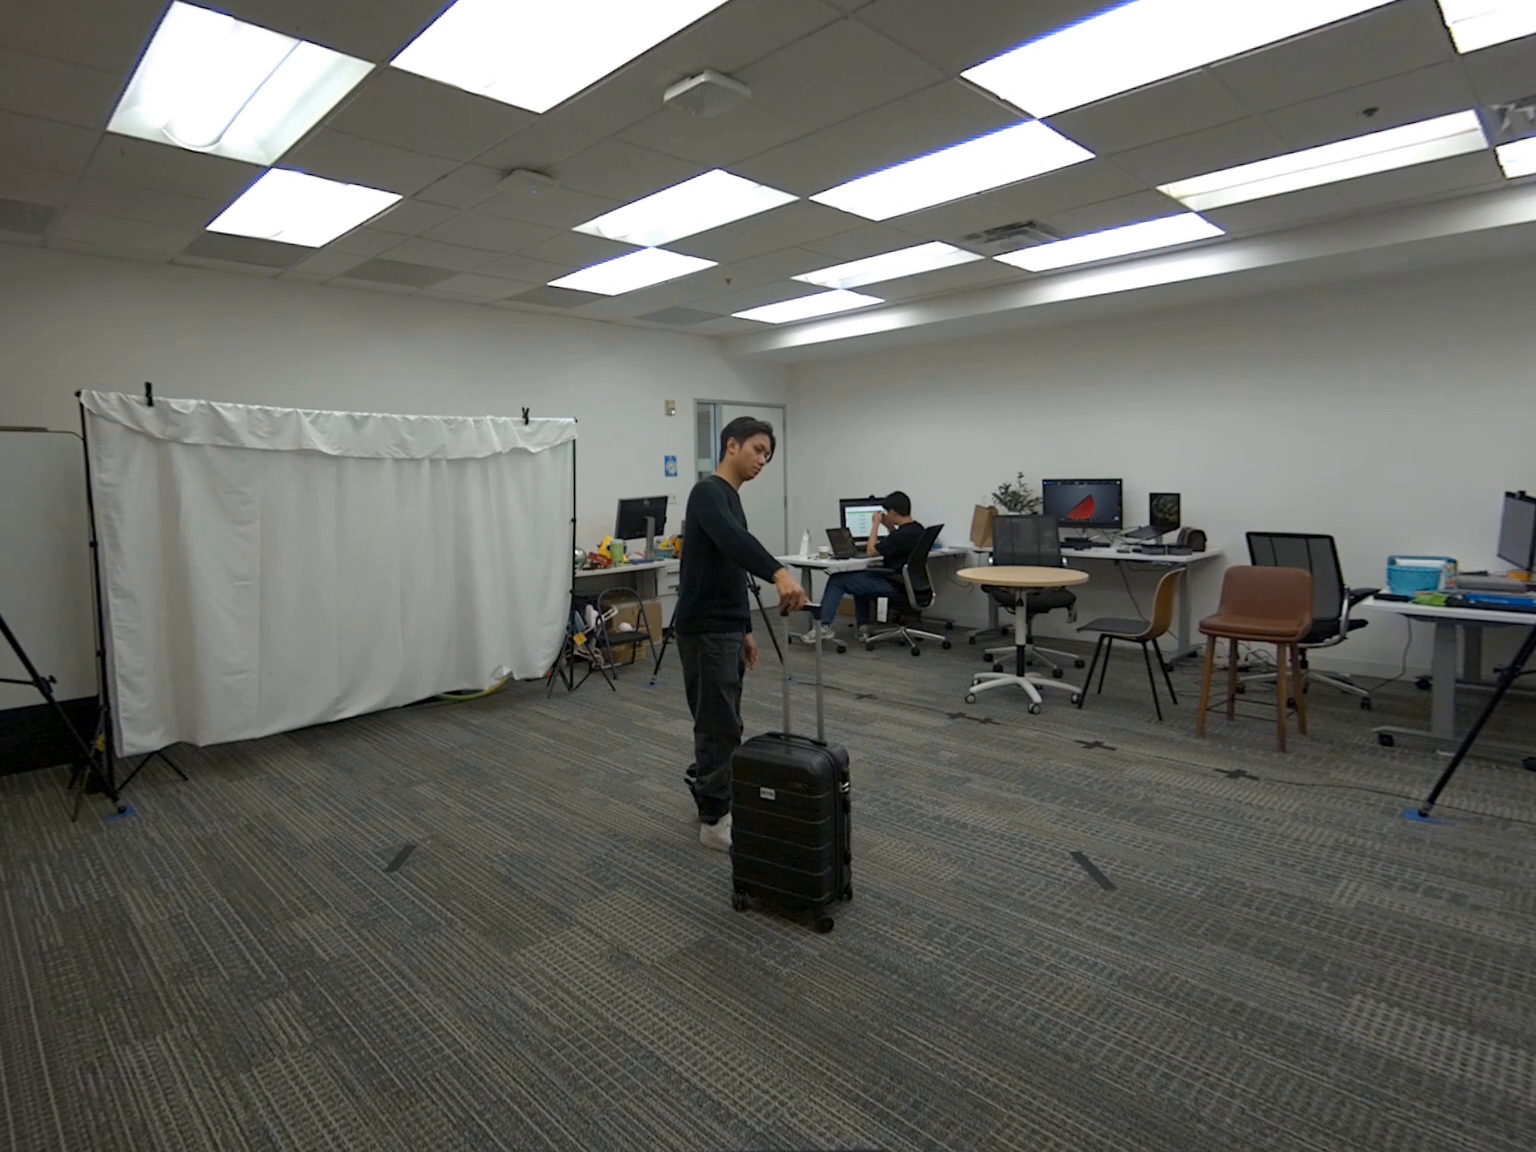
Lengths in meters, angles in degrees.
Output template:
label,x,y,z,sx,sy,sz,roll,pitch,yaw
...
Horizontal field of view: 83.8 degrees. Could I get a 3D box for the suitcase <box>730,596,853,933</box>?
label,x,y,z,sx,sy,sz,roll,pitch,yaw
suitcase,0.079,0.608,2.759,0.394,0.974,0.251,1,6,31
